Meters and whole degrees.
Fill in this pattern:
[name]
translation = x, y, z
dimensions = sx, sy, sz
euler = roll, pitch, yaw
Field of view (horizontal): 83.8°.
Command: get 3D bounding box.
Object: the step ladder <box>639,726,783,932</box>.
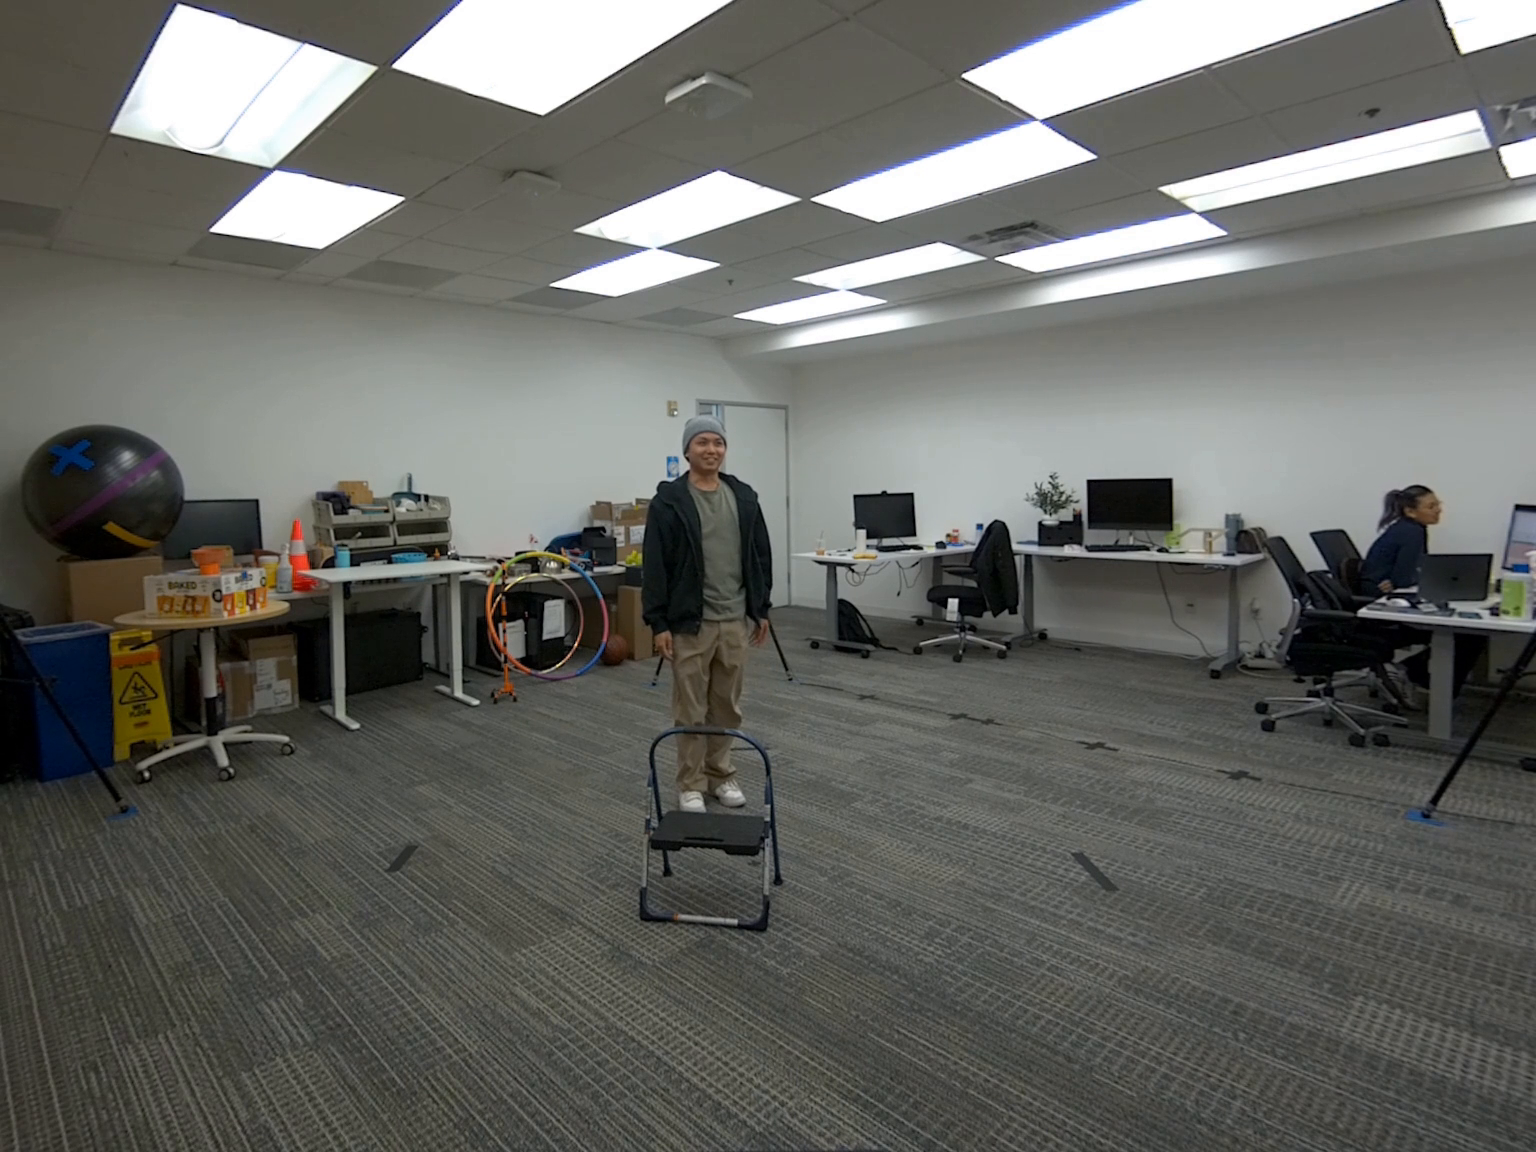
[step ladder]
translation = -0.190, 0.781, 2.822
dimensions = 0.435, 0.604, 0.347
euler = 1, 4, 10
